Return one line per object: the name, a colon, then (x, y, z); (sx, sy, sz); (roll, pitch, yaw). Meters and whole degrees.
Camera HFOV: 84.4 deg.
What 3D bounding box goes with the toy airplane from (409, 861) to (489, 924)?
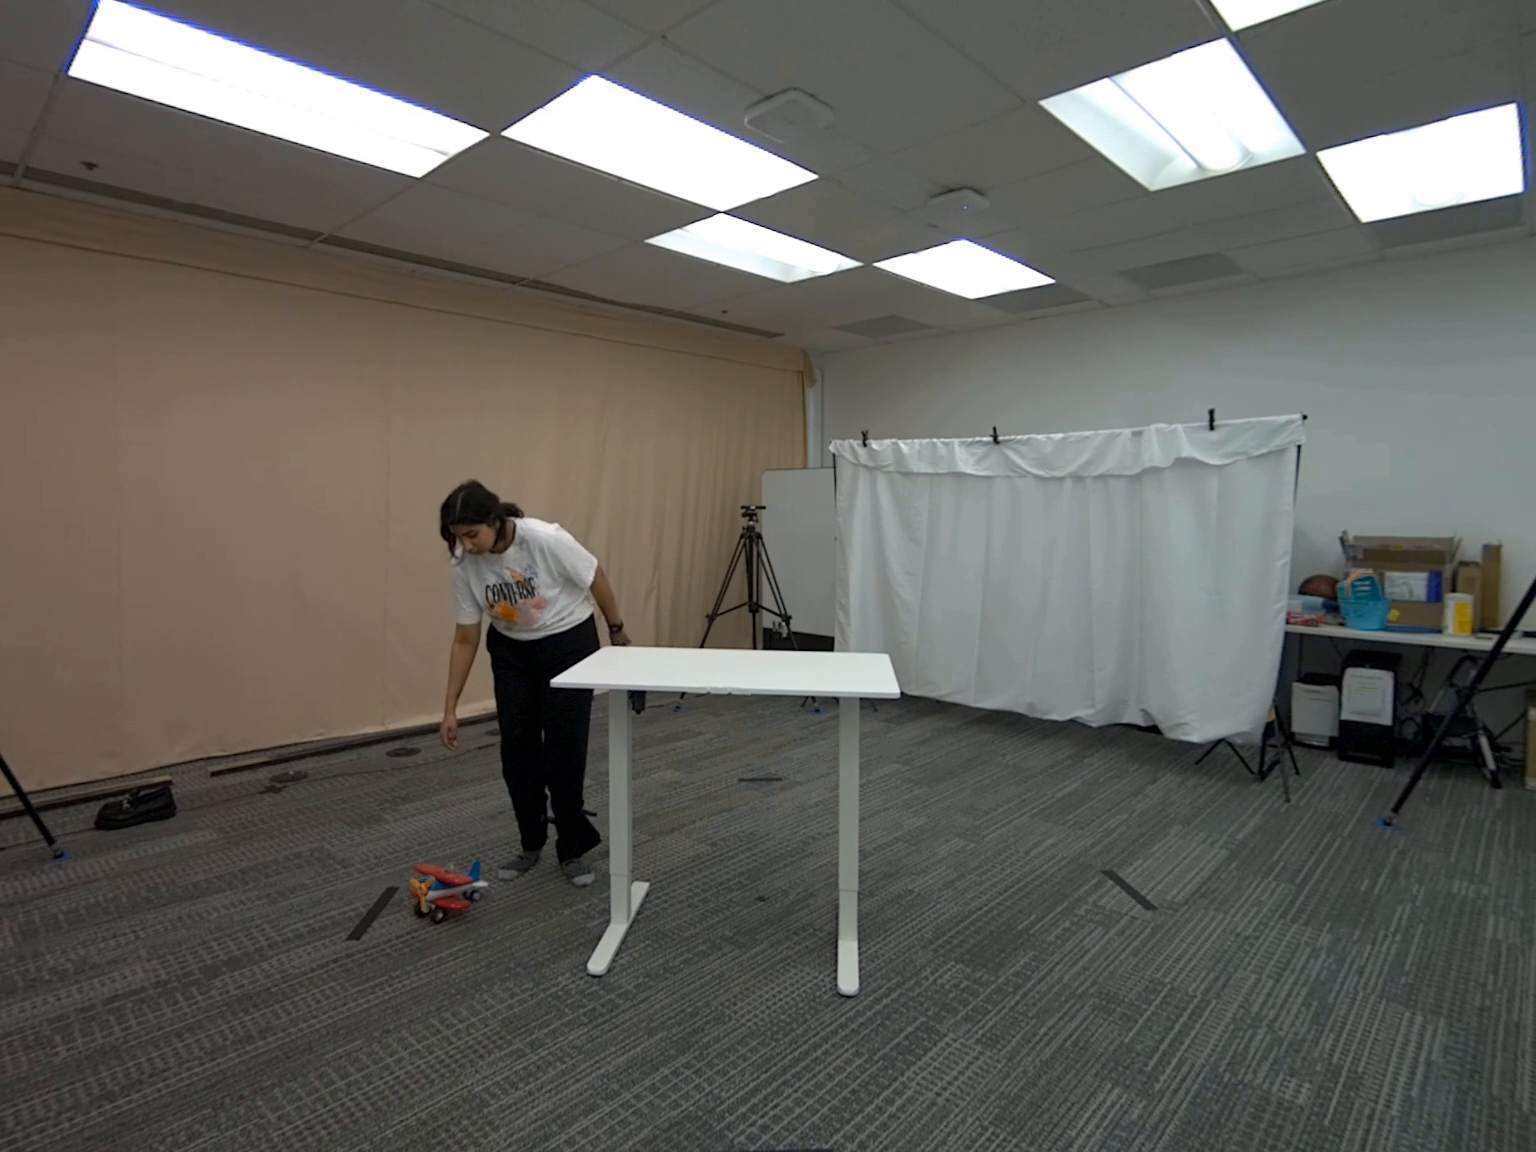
toy airplane: (-1.122, 1.080, 2.926); (0.252, 0.156, 0.259); (-1, 5, 4)
